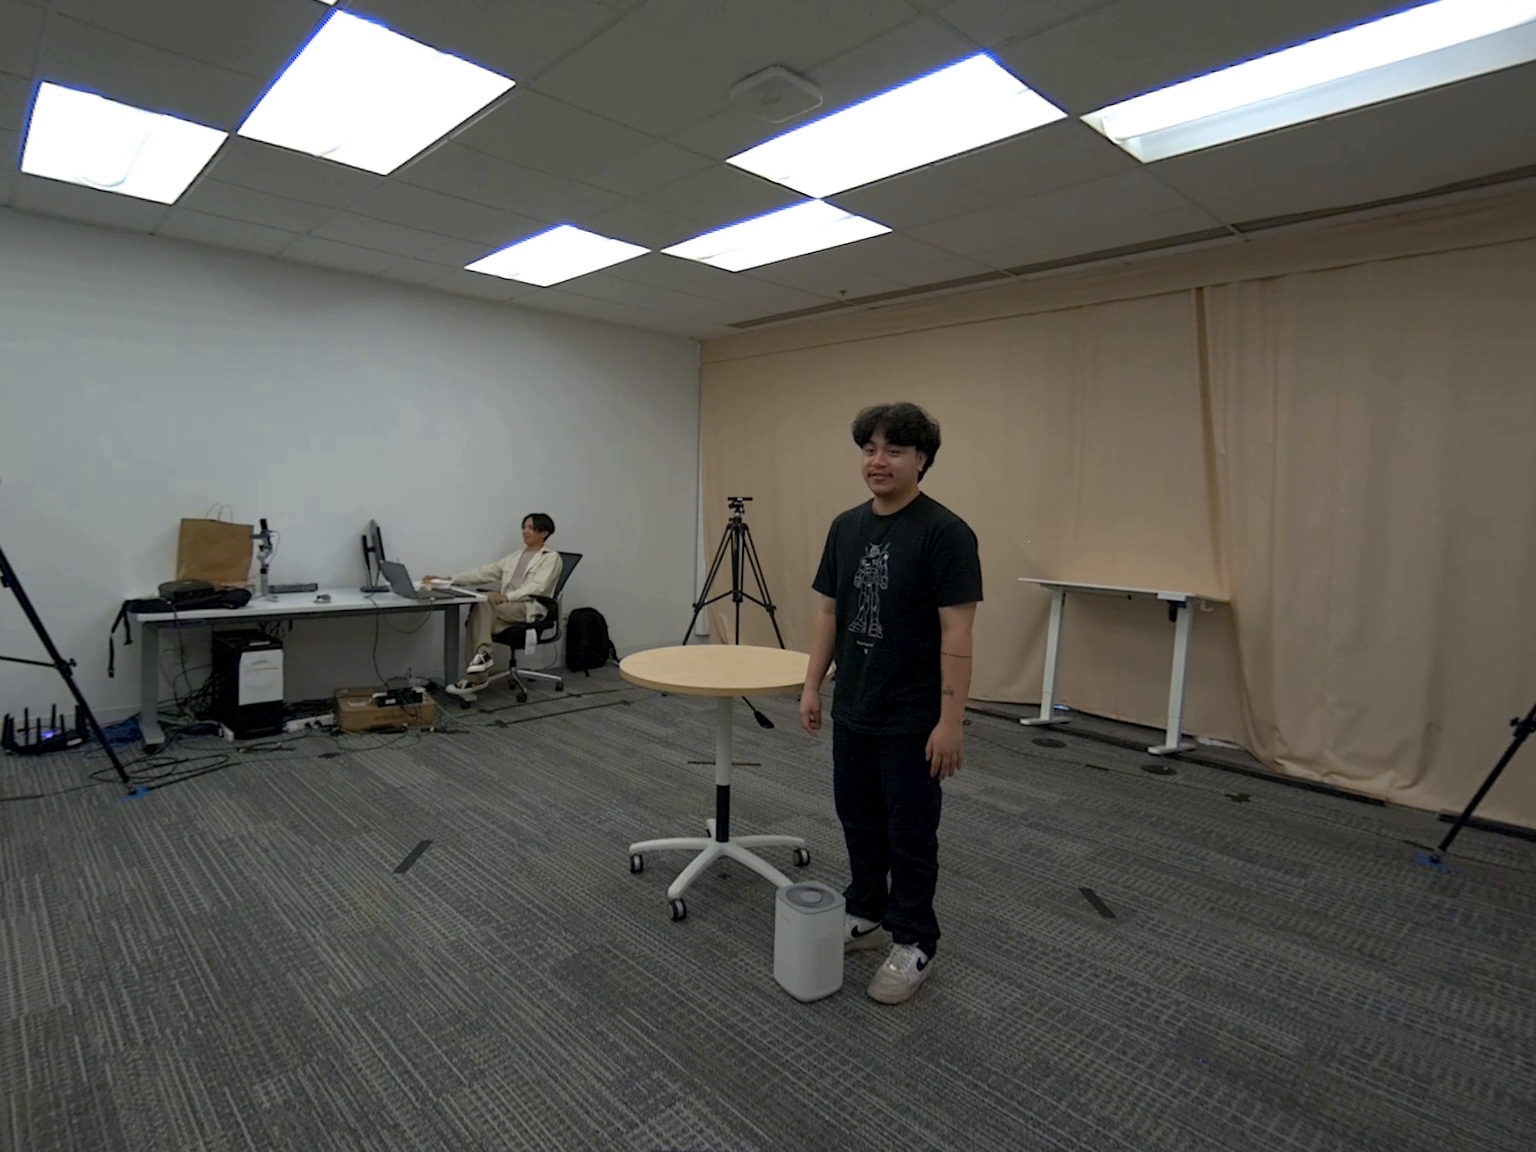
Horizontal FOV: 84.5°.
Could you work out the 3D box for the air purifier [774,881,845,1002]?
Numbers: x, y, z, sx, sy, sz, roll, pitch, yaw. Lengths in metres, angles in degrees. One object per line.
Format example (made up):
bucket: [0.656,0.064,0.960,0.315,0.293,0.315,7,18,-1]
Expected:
air purifier: [0.111,1.048,2.401,0.168,0.265,0.175,-2,4,-34]
